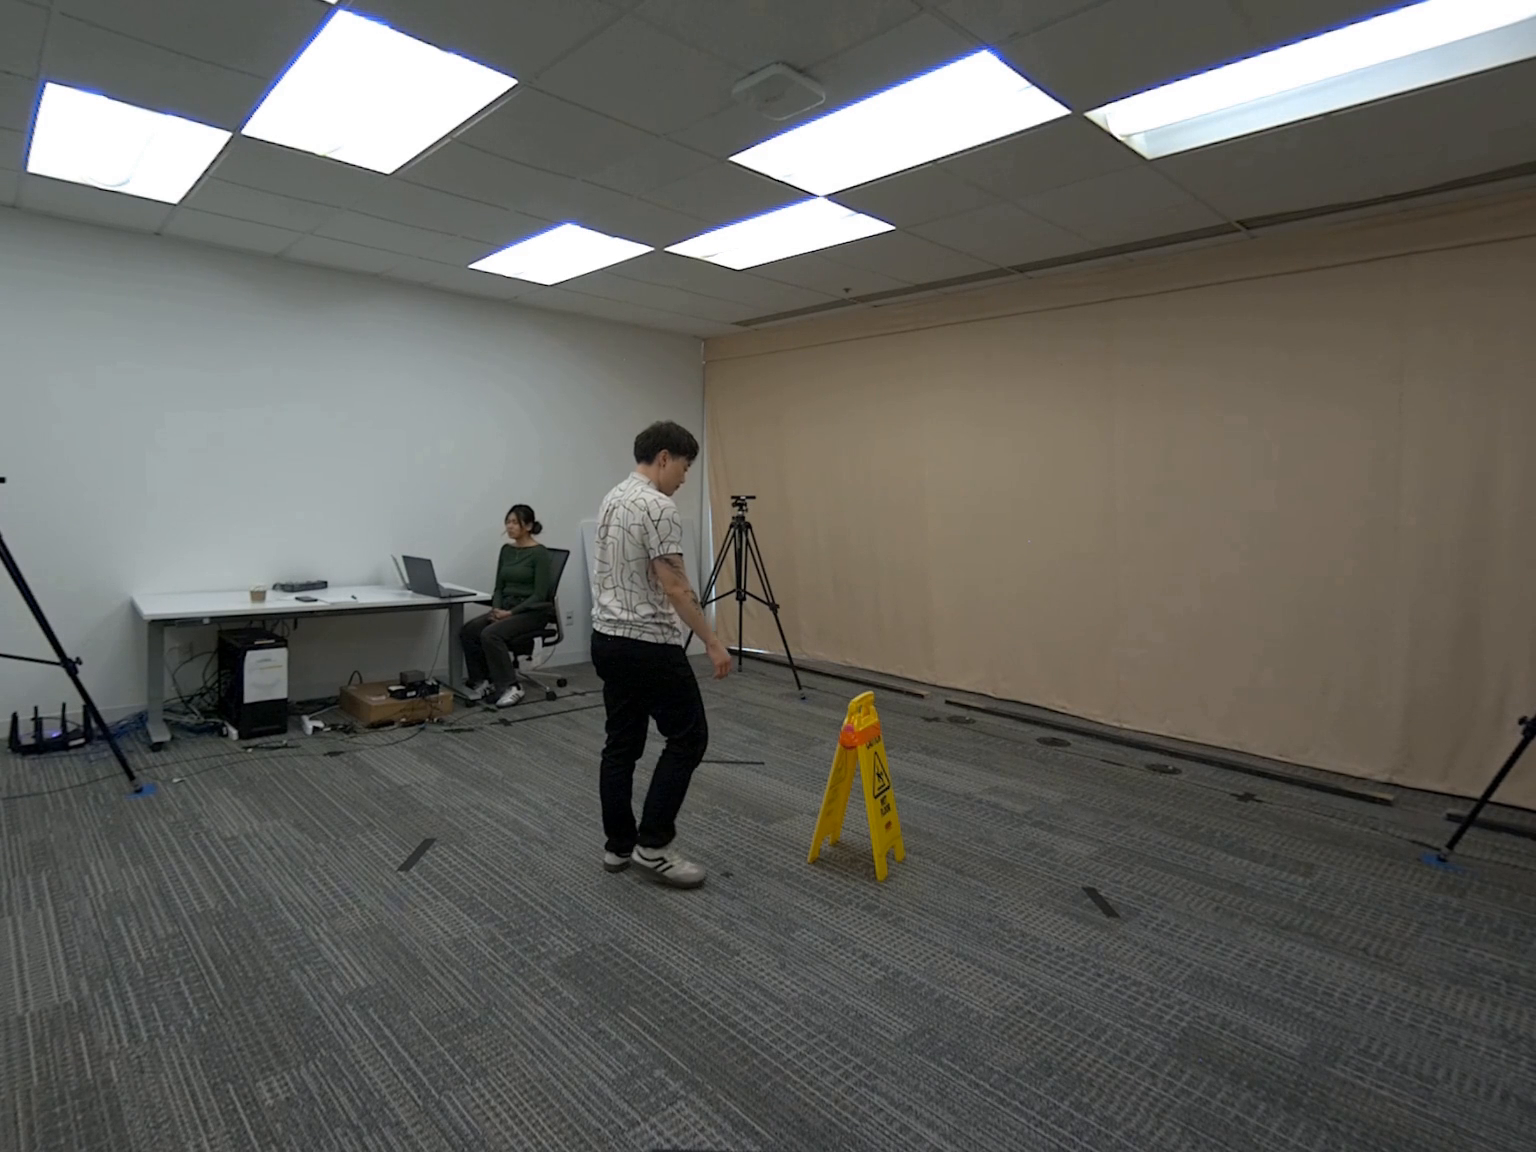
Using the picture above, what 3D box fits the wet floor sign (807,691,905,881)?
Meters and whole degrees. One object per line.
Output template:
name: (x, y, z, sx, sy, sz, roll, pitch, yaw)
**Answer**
wet floor sign: (0.342, 0.776, 3.244, 0.296, 0.645, 0.277, 2, 2, 29)
